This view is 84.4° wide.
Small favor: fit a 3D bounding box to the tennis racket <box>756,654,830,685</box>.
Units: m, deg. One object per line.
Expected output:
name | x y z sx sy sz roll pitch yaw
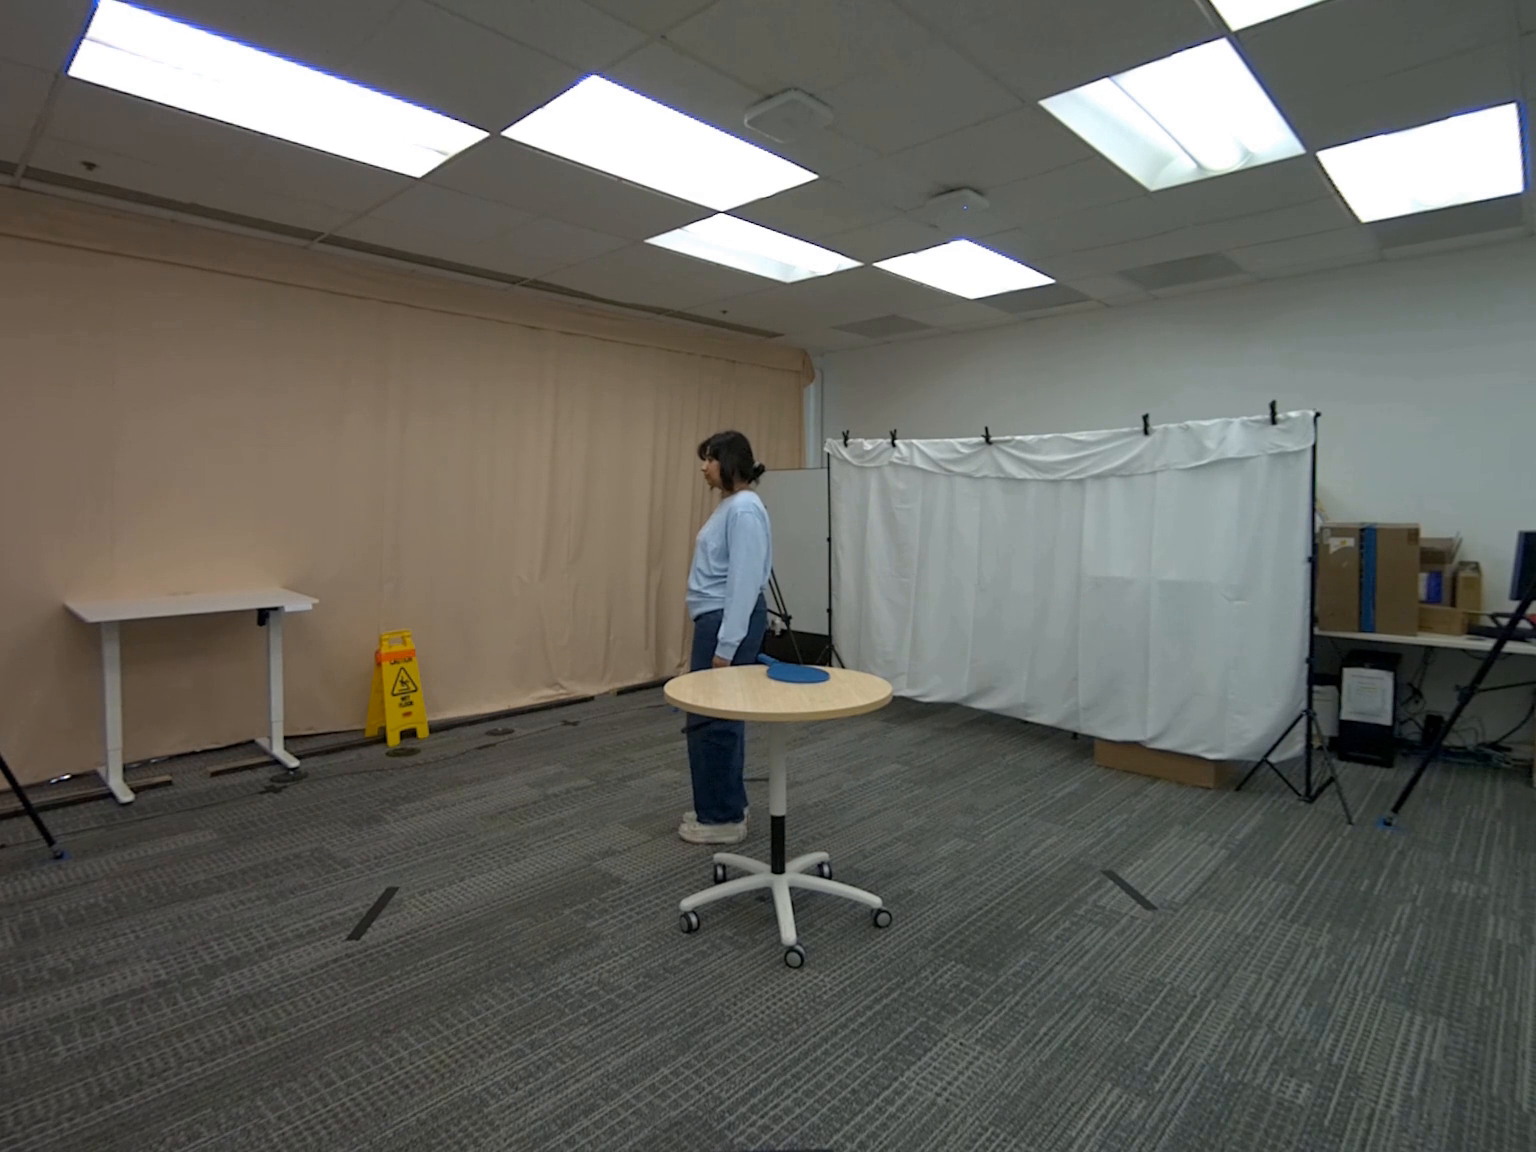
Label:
tennis racket | 0.079 0.341 3.085 0.209 0.031 0.444 -4 7 -23
